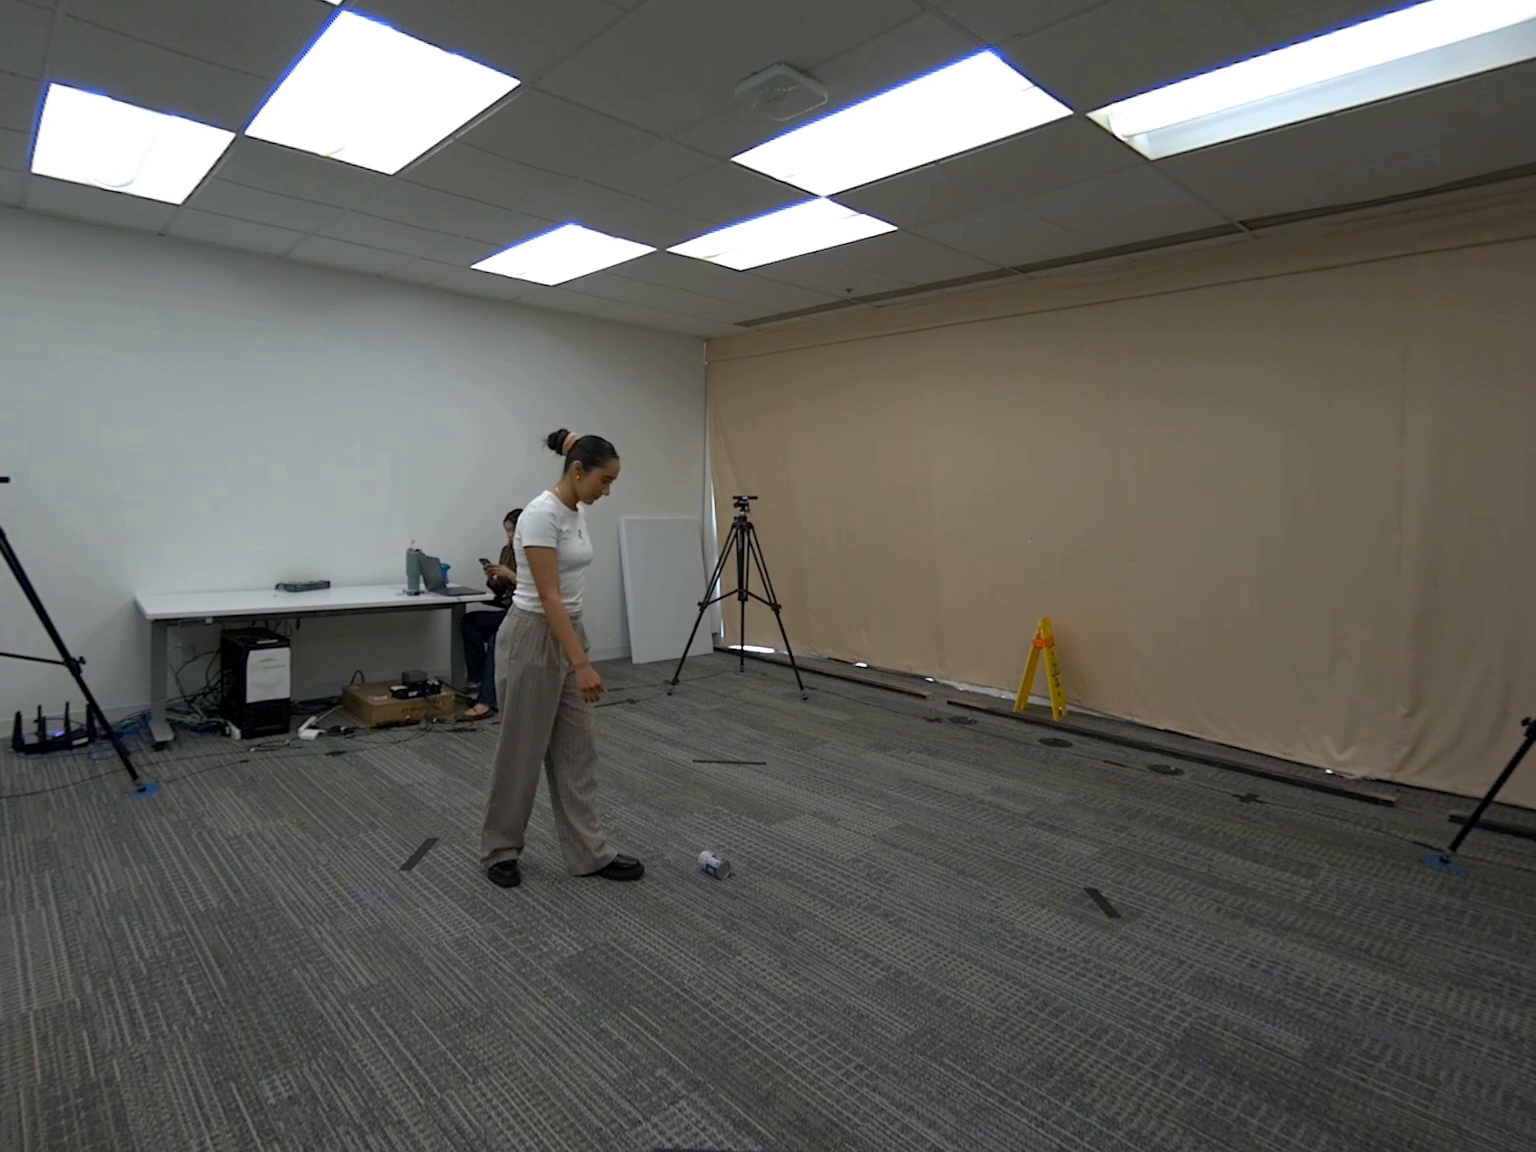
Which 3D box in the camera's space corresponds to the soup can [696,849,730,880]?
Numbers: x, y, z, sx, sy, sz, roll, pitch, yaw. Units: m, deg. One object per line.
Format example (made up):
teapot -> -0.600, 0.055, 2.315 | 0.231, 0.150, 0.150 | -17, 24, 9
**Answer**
soup can -> -0.207, 1.058, 3.109 | 0.065, 0.067, 0.125 | -2, 10, -38
